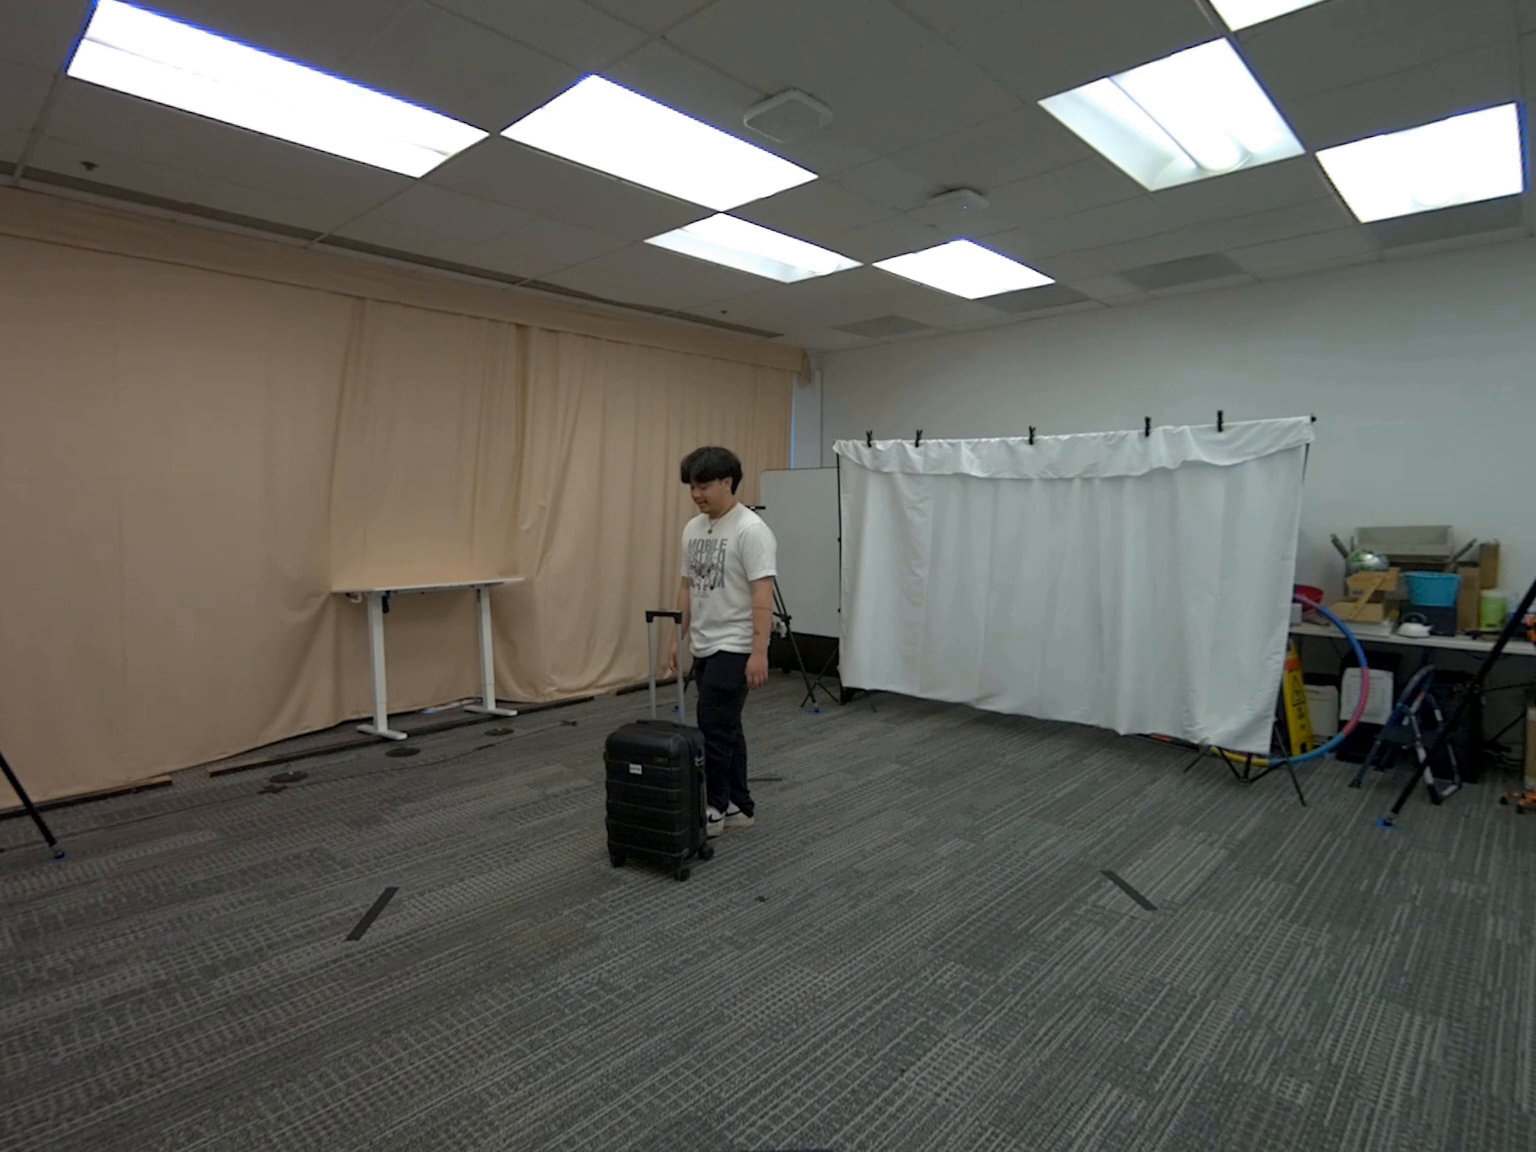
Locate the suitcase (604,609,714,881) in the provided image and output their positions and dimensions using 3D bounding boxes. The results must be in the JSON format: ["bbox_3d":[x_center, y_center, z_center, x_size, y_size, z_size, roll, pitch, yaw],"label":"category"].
[{"bbox_3d":[-0.447,0.646,3.245,0.394,0.974,0.251,1,7,26],"label":"suitcase"}]
